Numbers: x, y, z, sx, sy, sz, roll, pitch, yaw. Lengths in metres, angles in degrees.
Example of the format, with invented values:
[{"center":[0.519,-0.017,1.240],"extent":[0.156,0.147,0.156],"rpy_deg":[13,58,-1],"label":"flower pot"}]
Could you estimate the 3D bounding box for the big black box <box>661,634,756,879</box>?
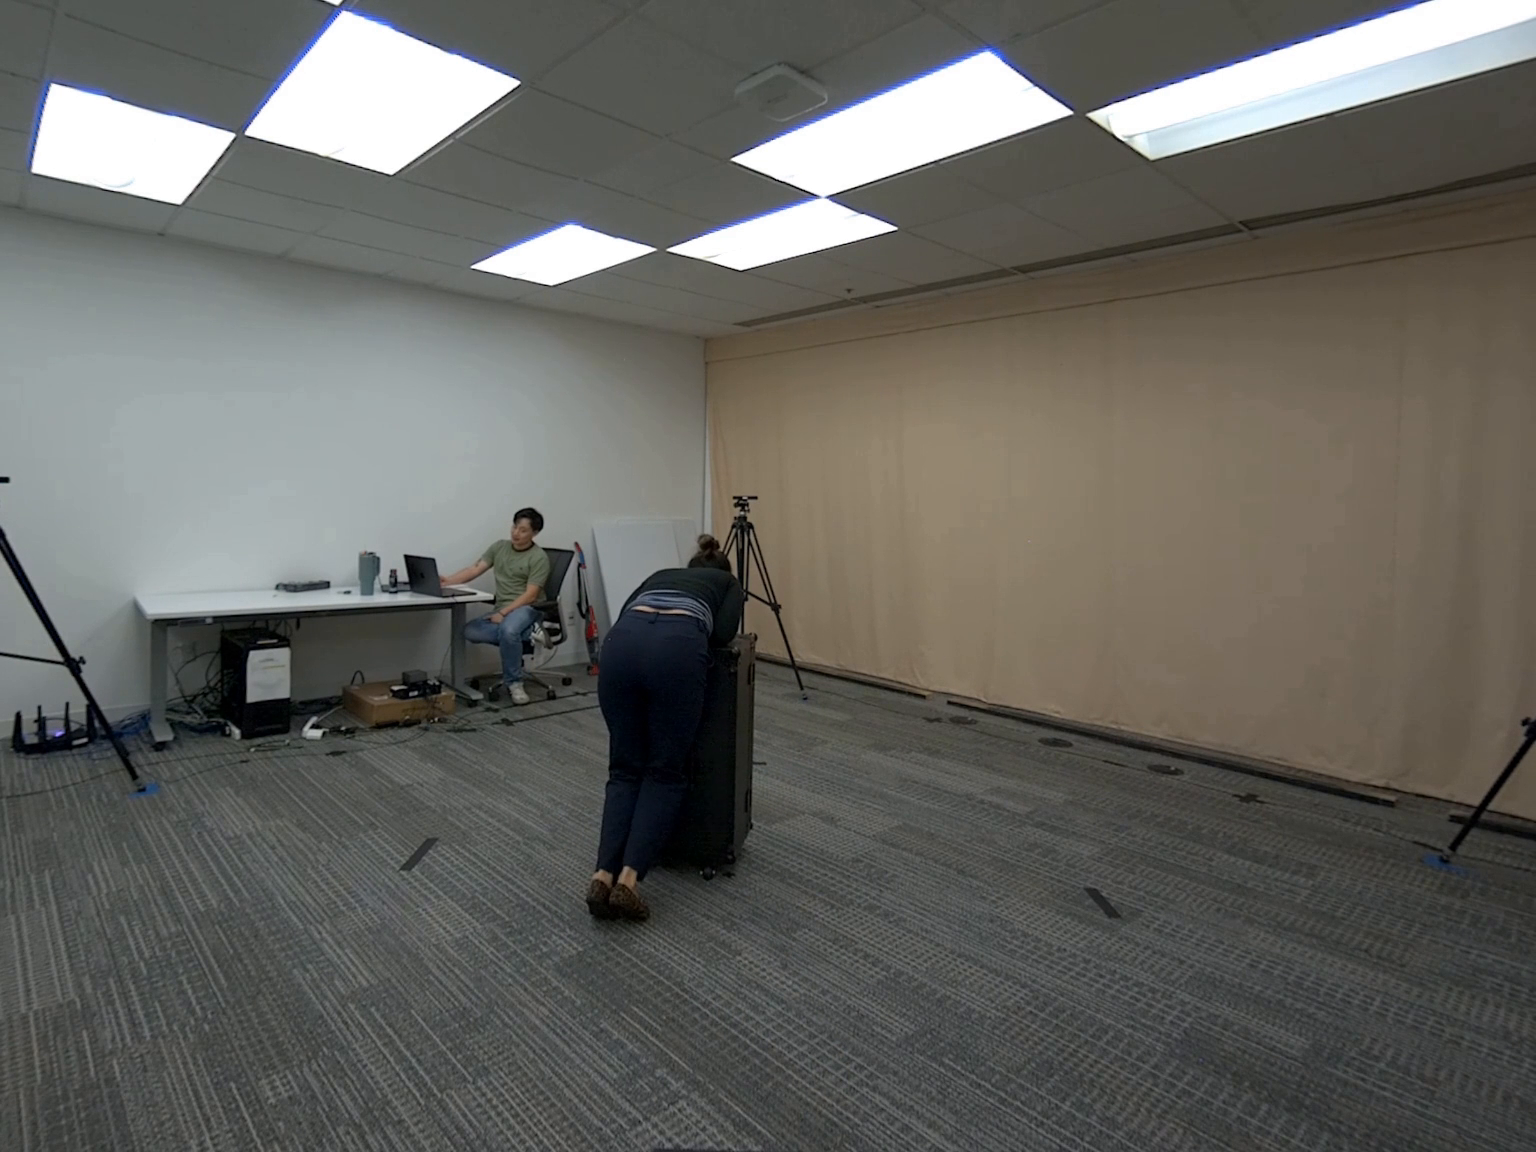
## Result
[{"center":[-0.318,0.666,3.225],"extent":[0.526,0.858,0.393],"rpy_deg":[3,5,12],"label":"big black box"}]
